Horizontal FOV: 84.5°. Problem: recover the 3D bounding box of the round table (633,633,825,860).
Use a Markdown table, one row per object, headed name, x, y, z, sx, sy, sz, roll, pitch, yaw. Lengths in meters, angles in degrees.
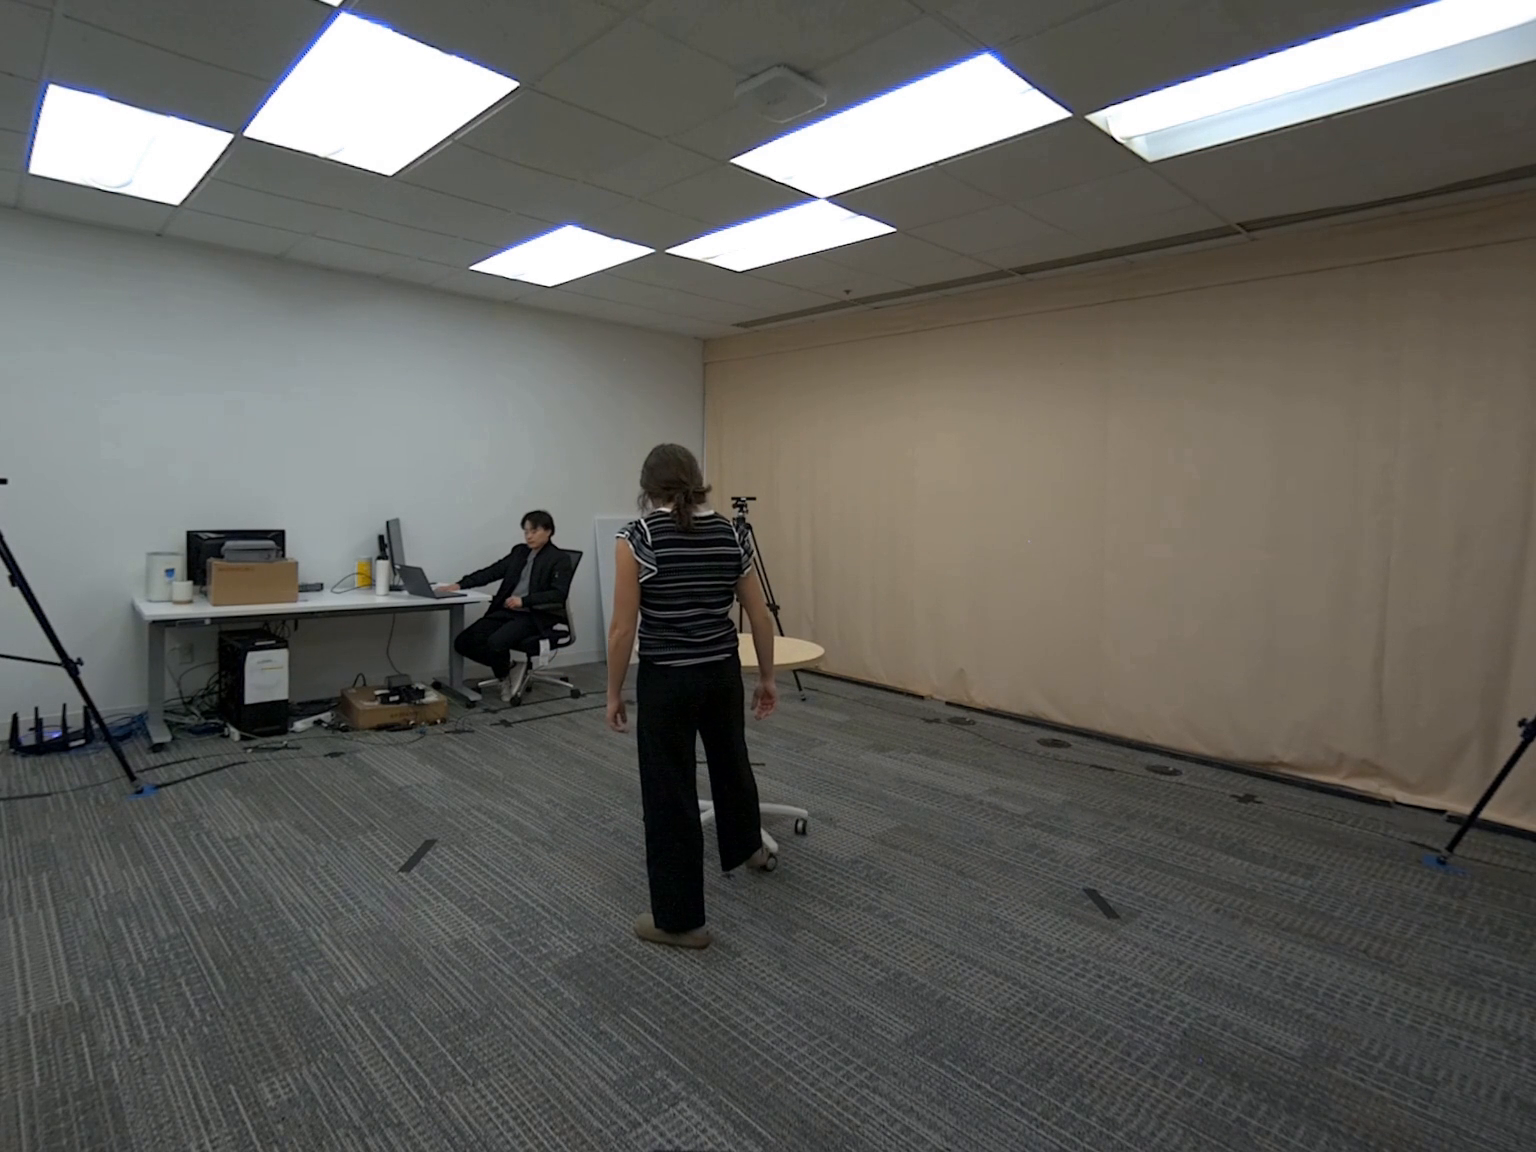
| name | x | y | z | sx | sy | sz | roll | pitch | yaw |
| --- | --- | --- | --- | --- | --- | --- | --- | --- | --- |
| round table | -0.158 | 0.683 | 3.442 | 0.784 | 0.785 | 0.787 | 1 | 4 | -1 |
